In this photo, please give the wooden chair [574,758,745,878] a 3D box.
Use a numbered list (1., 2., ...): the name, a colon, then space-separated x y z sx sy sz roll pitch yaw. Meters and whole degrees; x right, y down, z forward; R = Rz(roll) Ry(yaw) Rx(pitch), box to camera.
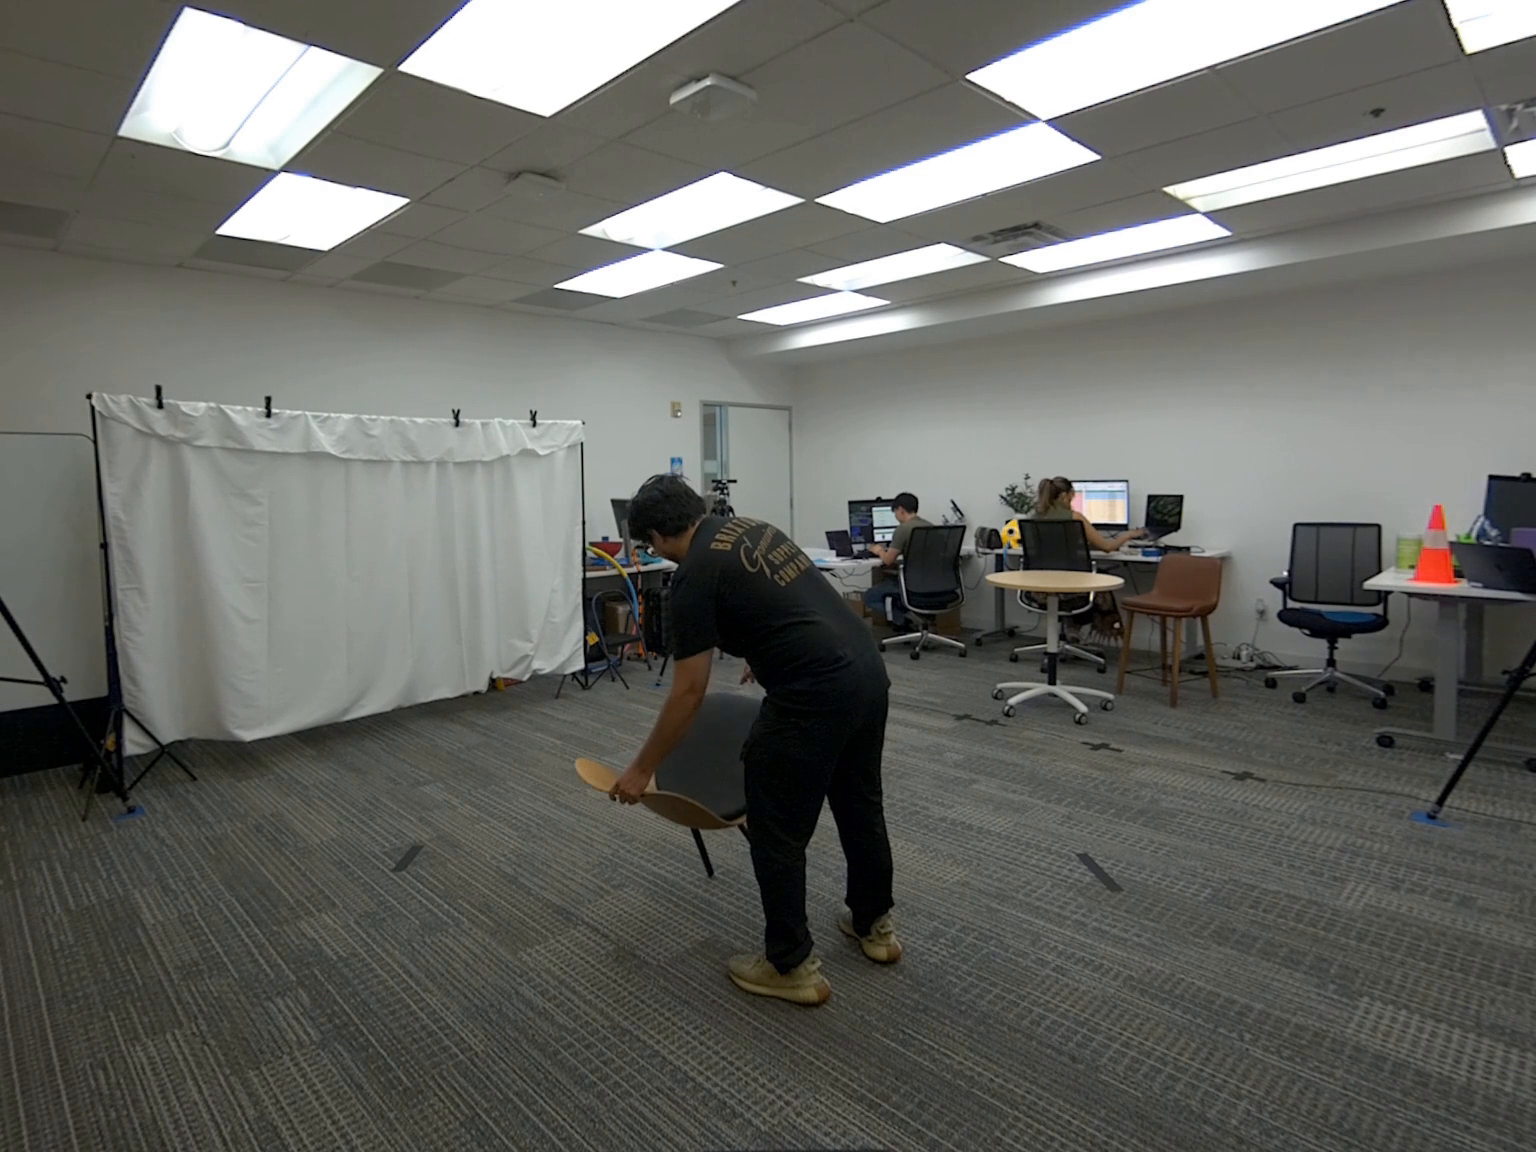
1. wooden chair: -0.148 0.626 2.730 0.493 0.527 0.844 4 -33 44
